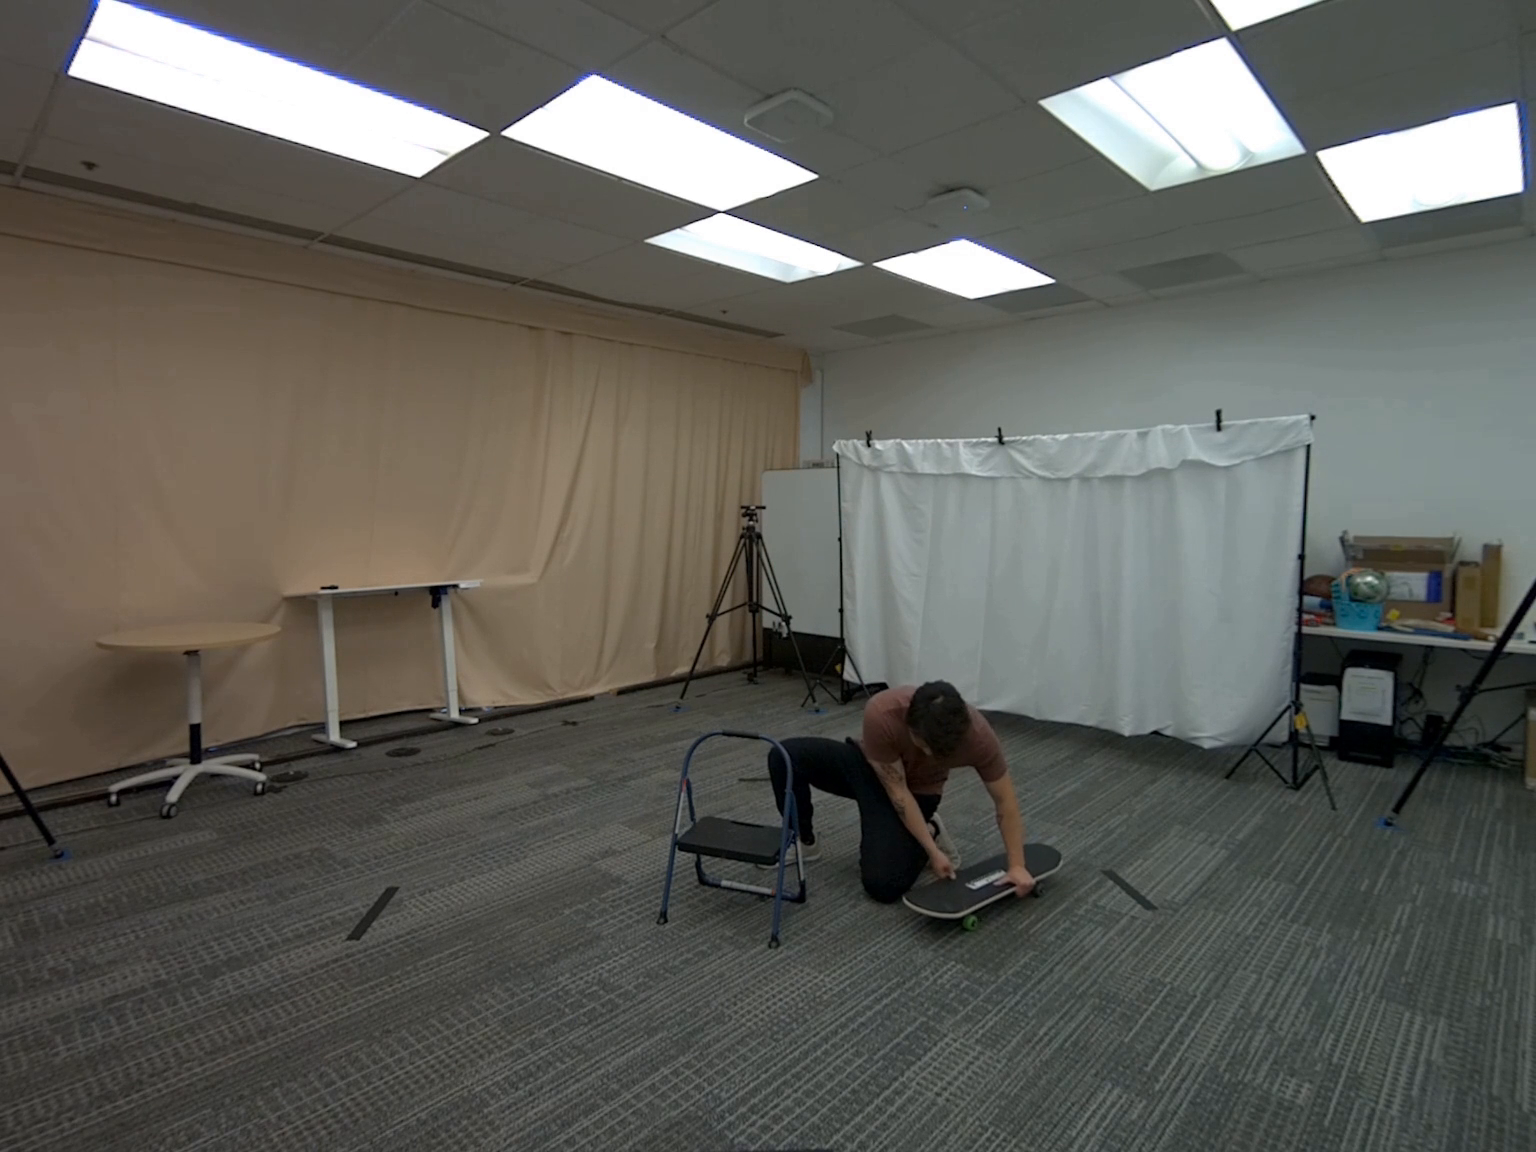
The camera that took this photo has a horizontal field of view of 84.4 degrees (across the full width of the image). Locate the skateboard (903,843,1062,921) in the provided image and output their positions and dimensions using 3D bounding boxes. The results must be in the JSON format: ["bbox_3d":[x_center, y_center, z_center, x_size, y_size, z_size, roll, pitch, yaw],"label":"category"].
[{"bbox_3d":[0.759,1.090,2.922,0.762,0.110,0.200,-3,8,-37],"label":"skateboard"}]
